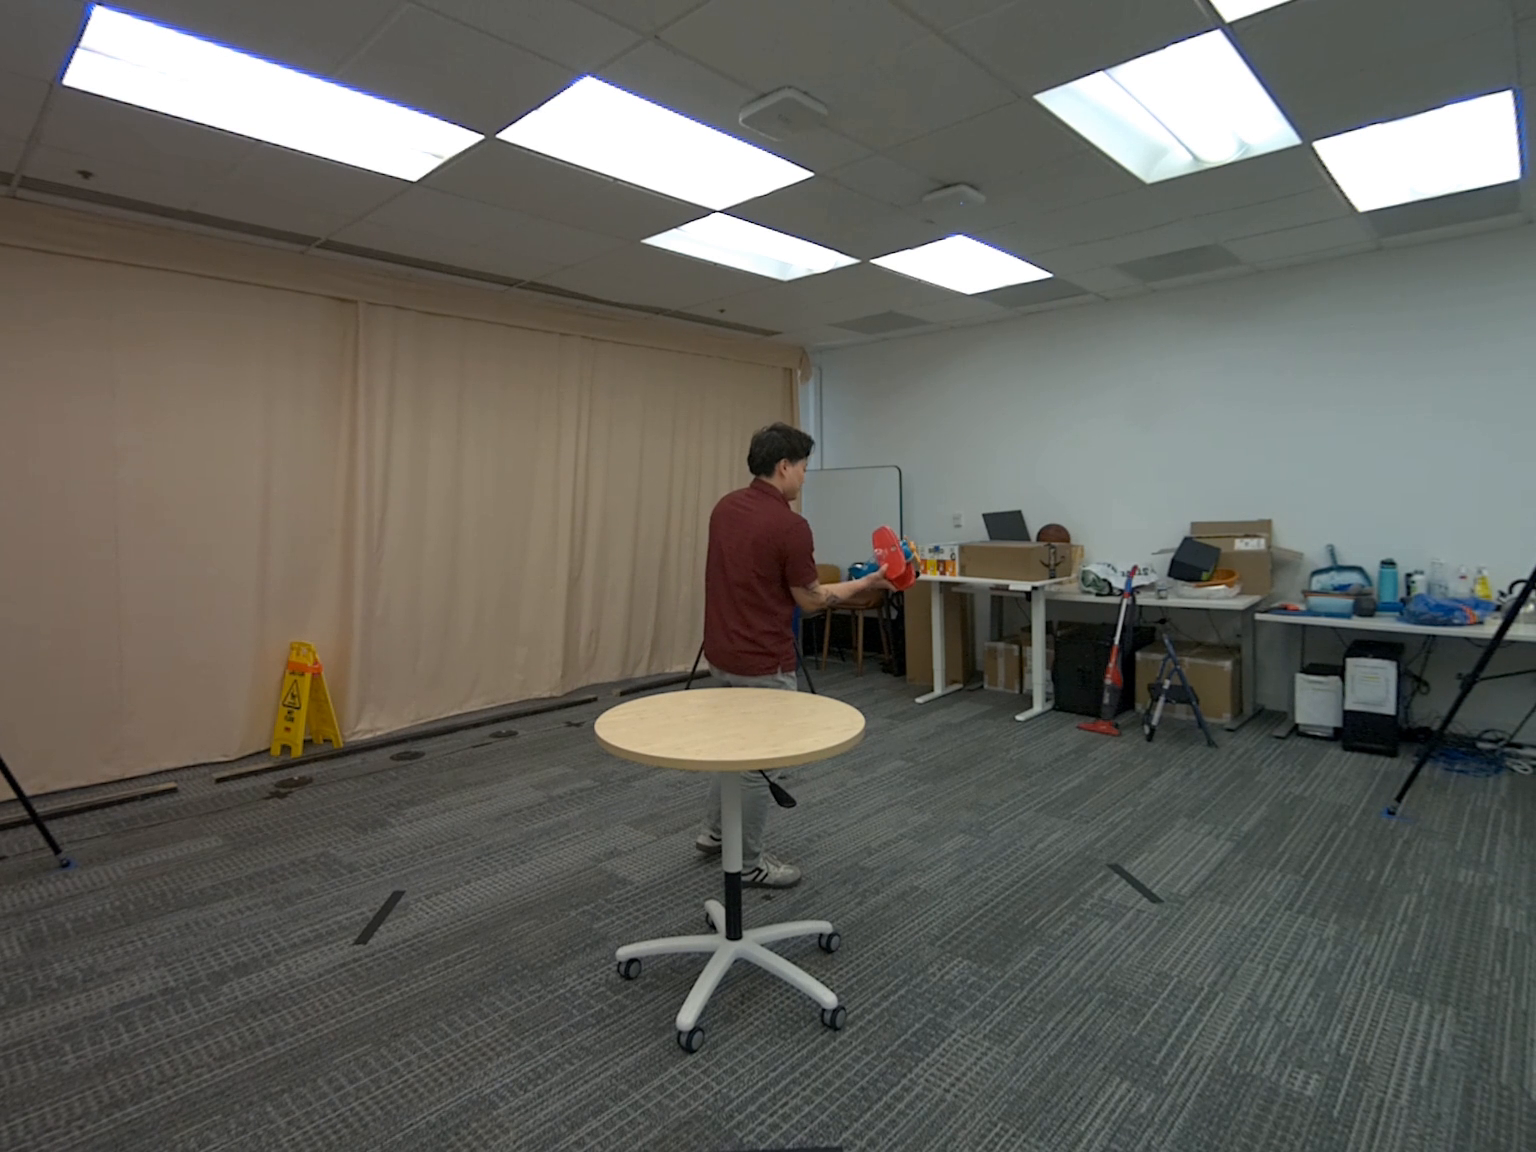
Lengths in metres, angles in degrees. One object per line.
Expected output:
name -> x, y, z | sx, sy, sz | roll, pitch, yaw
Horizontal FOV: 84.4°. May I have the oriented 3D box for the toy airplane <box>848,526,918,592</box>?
toy airplane -> 0.445, -0.041, 3.133 | 0.258, 0.151, 0.260 | -40, 46, -10
